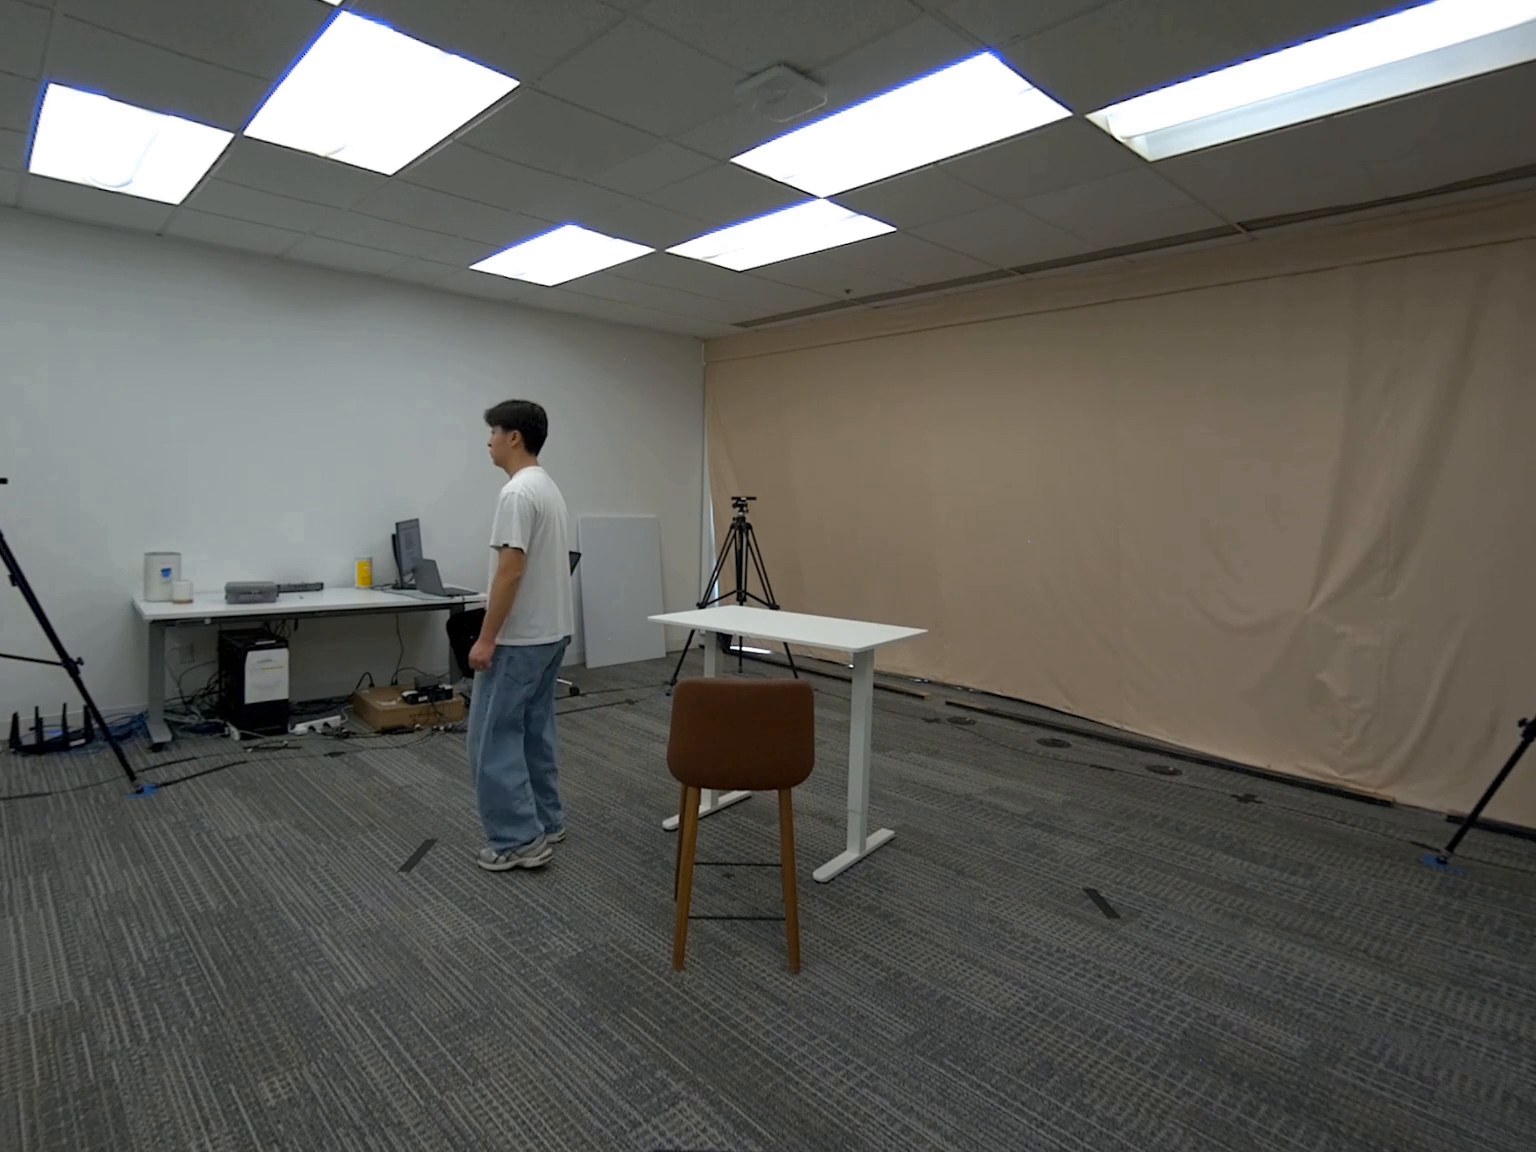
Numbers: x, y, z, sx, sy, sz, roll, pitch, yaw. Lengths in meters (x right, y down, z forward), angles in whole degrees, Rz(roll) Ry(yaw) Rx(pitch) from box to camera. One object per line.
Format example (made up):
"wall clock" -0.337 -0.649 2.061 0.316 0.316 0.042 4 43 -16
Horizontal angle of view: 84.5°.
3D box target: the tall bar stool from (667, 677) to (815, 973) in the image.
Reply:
"tall bar stool" -0.106 0.714 2.664 0.455 0.886 0.470 1 5 -4
